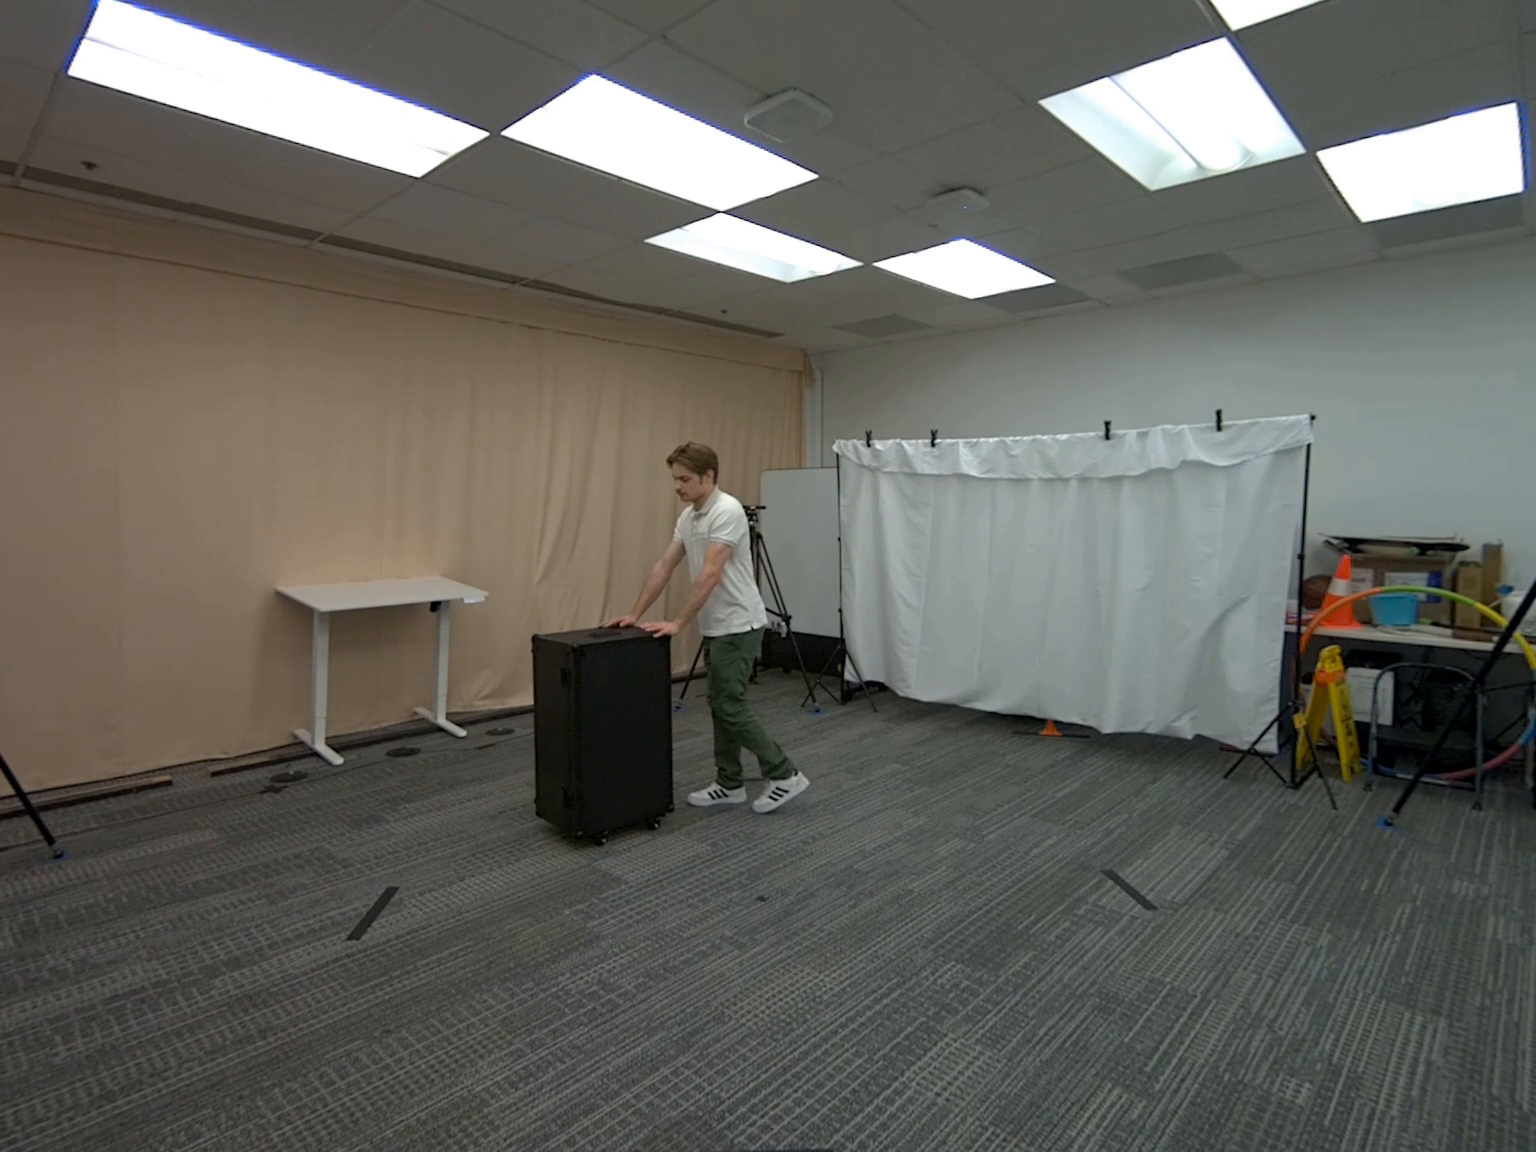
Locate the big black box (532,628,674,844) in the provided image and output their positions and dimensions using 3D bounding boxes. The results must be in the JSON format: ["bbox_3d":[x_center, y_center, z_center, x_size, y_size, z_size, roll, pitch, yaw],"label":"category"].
[{"bbox_3d":[-0.713,0.673,3.618,0.507,0.867,0.398,-3,4,-42],"label":"big black box"}]
